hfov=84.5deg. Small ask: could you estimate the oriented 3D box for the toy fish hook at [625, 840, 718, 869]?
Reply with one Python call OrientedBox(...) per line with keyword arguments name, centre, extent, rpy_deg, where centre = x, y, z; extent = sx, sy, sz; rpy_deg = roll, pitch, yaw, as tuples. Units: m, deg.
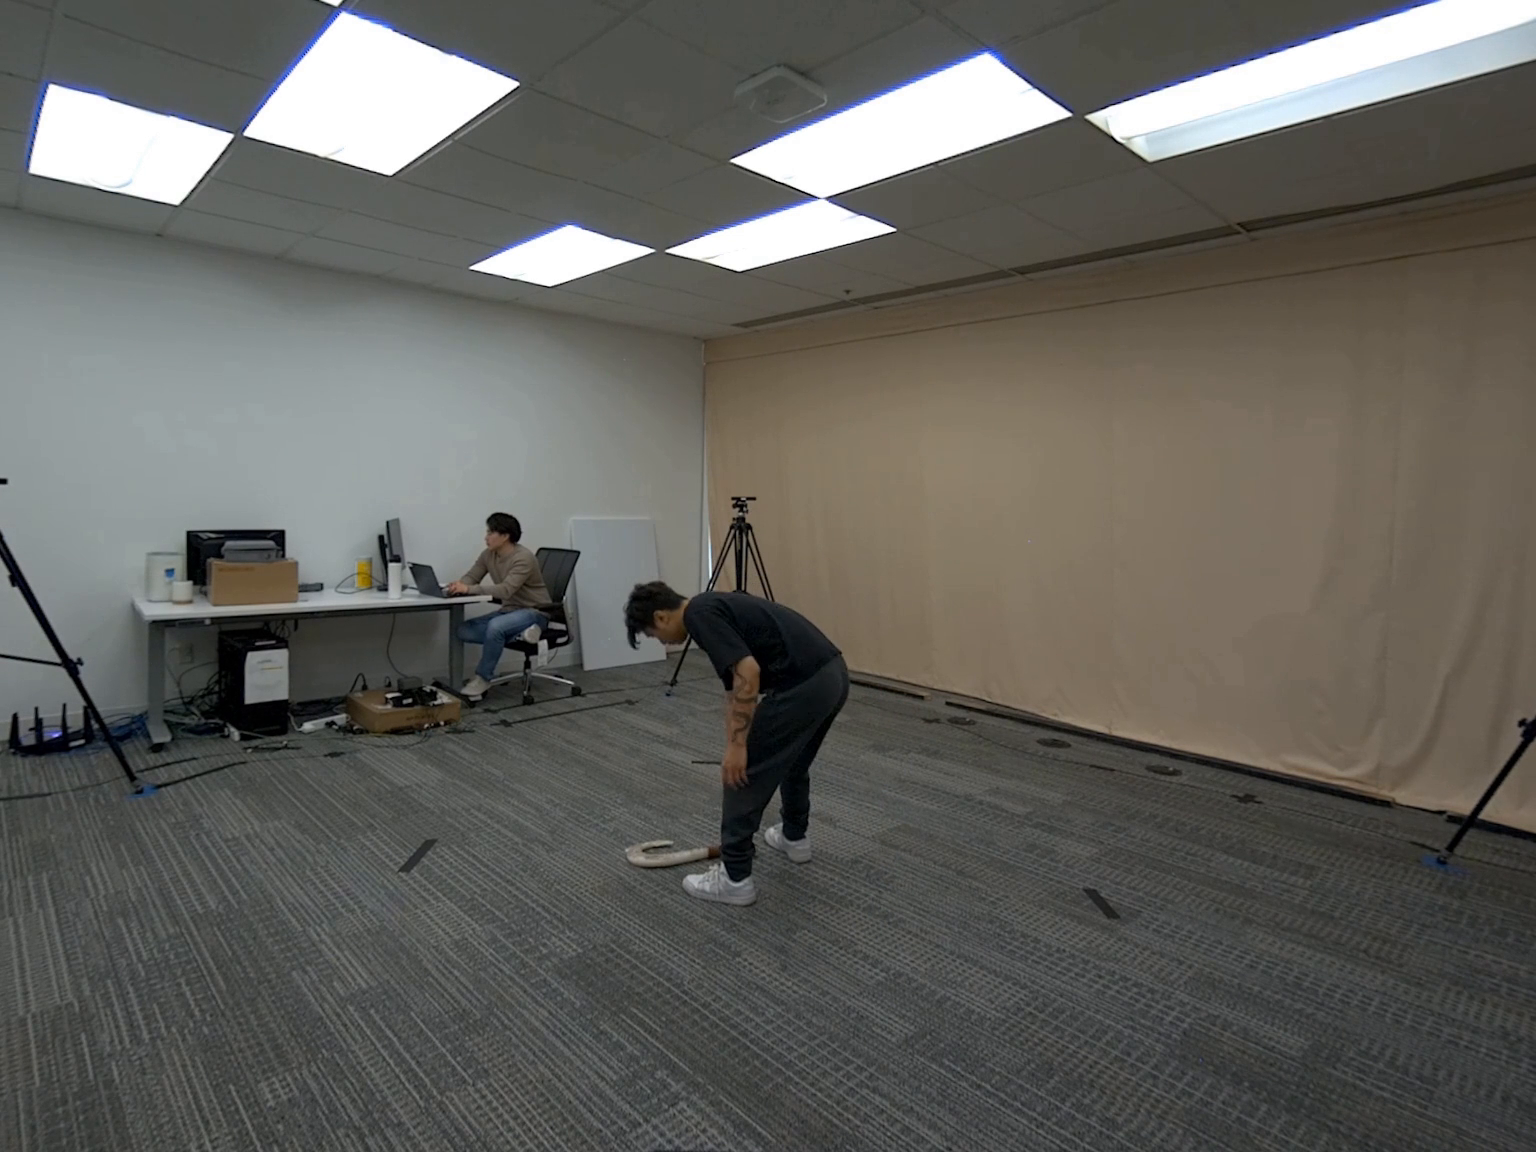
OrientedBox(name="toy fish hook", centre=(-0.304, 1.062, 3.281), extent=(0.501, 0.048, 0.228), rpy_deg=(0, 6, -14))
